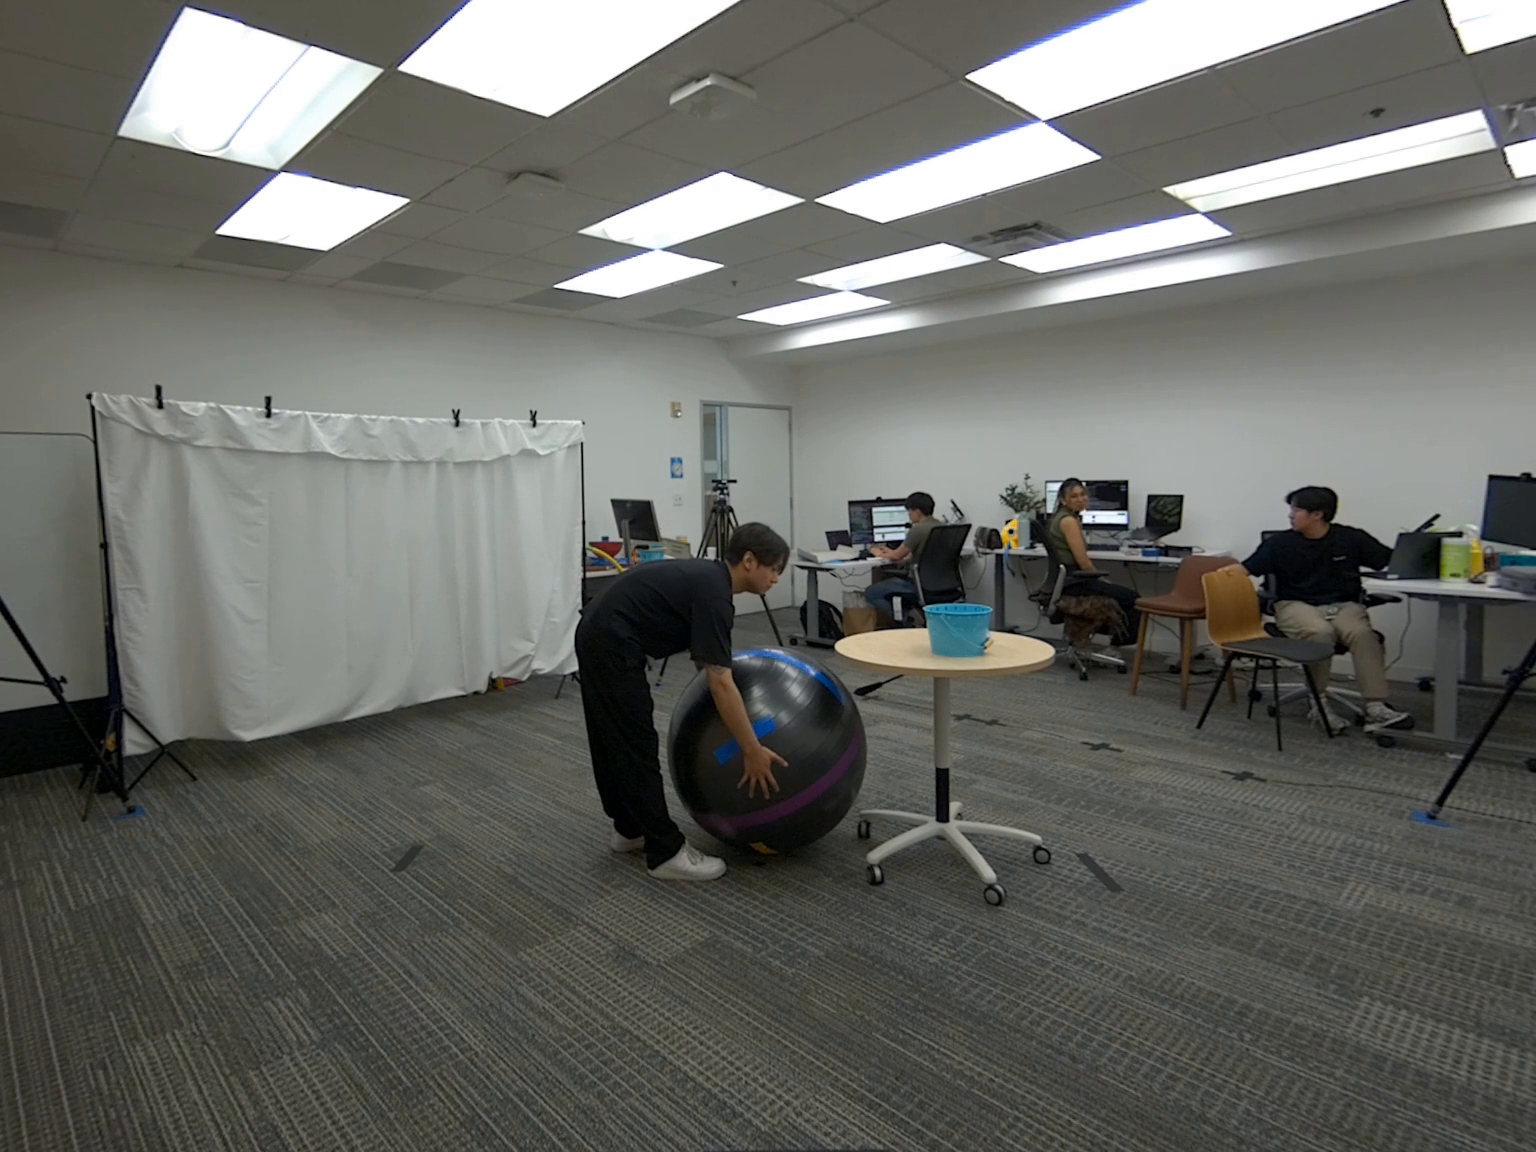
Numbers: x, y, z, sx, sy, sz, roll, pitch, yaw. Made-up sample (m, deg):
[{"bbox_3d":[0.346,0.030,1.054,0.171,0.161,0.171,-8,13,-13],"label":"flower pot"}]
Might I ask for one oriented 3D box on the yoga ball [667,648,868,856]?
[{"bbox_3d":[-0.003,0.651,3.257,0.757,0.755,0.762,-1,5,-2],"label":"yoga ball"}]
